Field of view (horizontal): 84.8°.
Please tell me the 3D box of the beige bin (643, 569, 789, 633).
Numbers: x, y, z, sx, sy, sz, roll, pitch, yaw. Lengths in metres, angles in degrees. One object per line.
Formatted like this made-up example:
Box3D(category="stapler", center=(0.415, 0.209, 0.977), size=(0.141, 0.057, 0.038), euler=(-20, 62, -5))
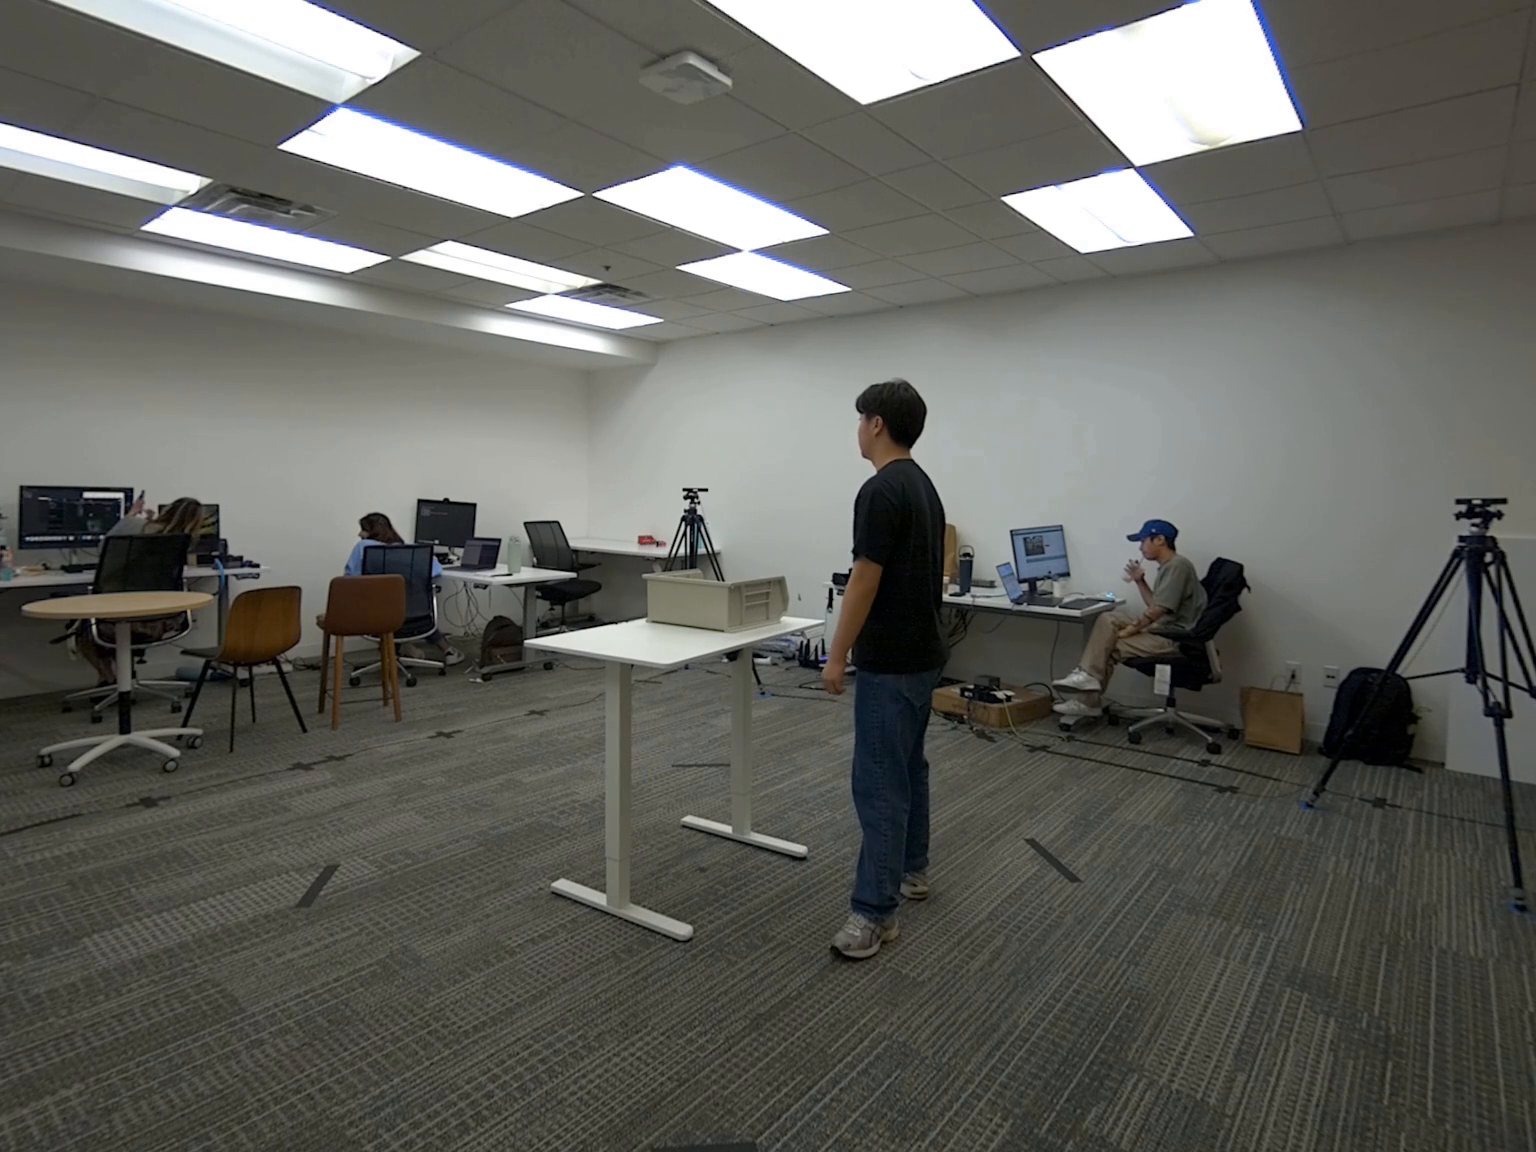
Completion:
Box3D(category="beige bin", center=(-0.206, 0.085, 3.234), size=(0.436, 0.188, 0.367), euler=(5, 9, 37))
